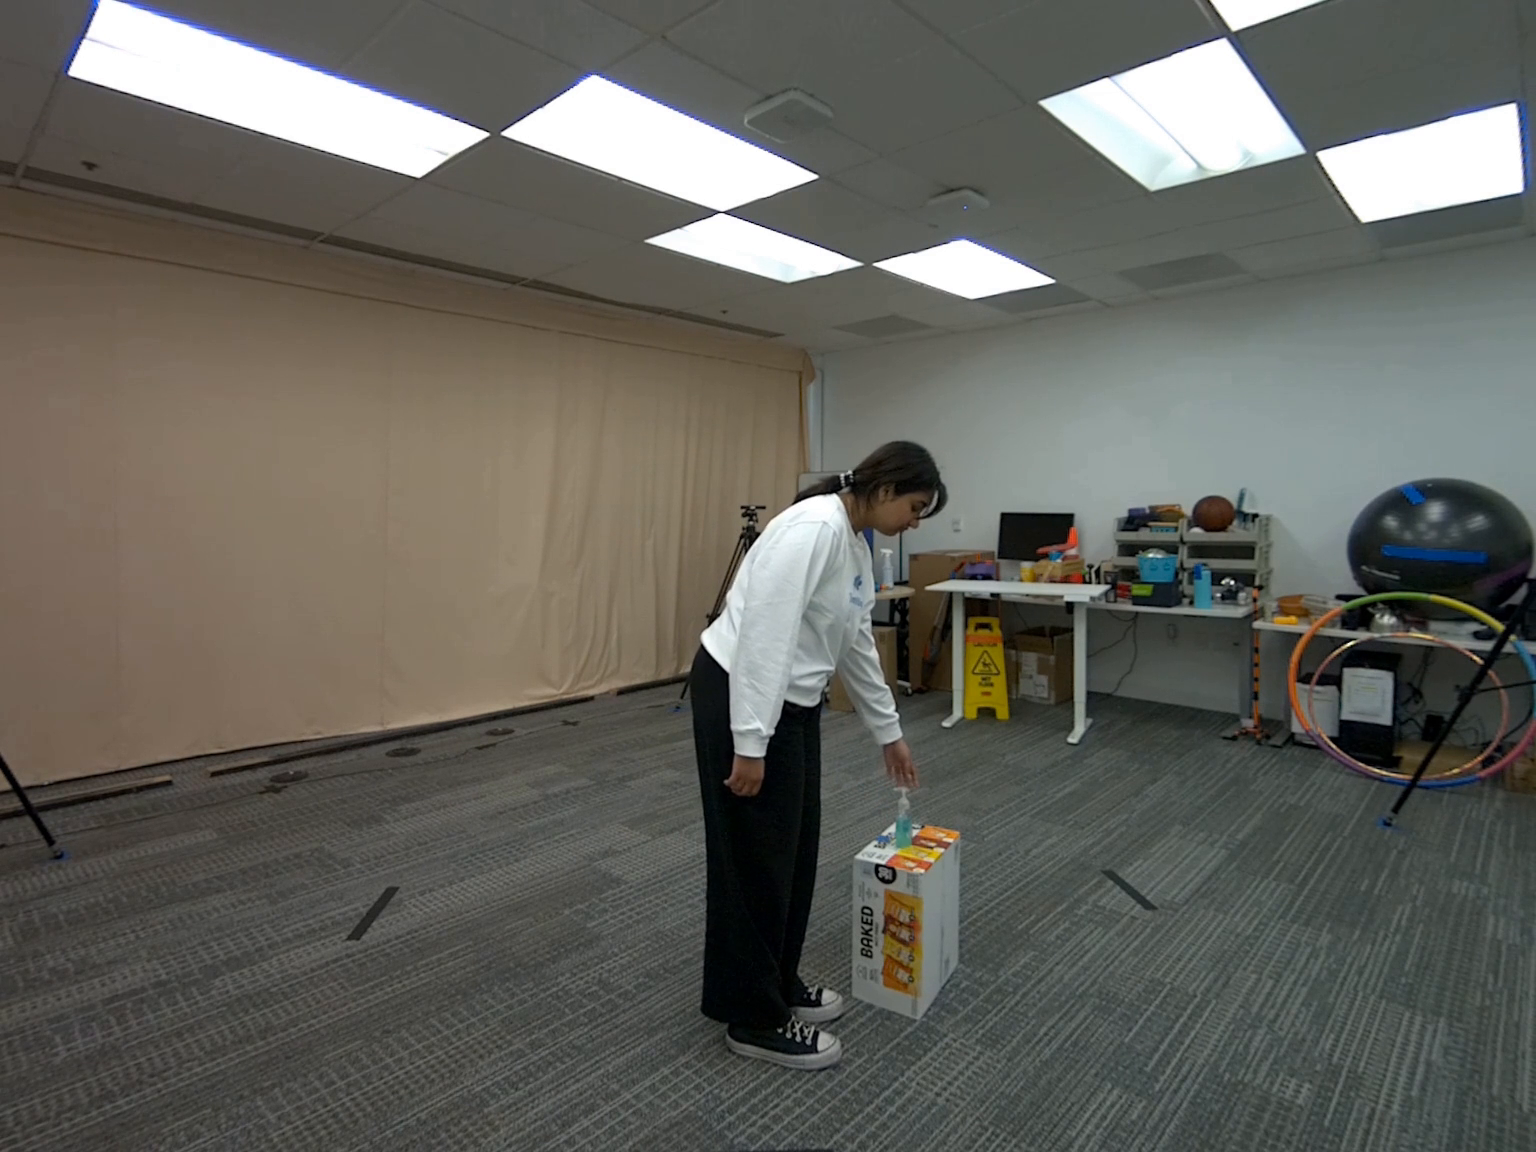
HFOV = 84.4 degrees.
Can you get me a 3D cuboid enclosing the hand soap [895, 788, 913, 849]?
[{"bbox_3d":[0.397,0.698,2.453,0.044,0.168,0.082,1,3,27],"label":"hand soap"}]
